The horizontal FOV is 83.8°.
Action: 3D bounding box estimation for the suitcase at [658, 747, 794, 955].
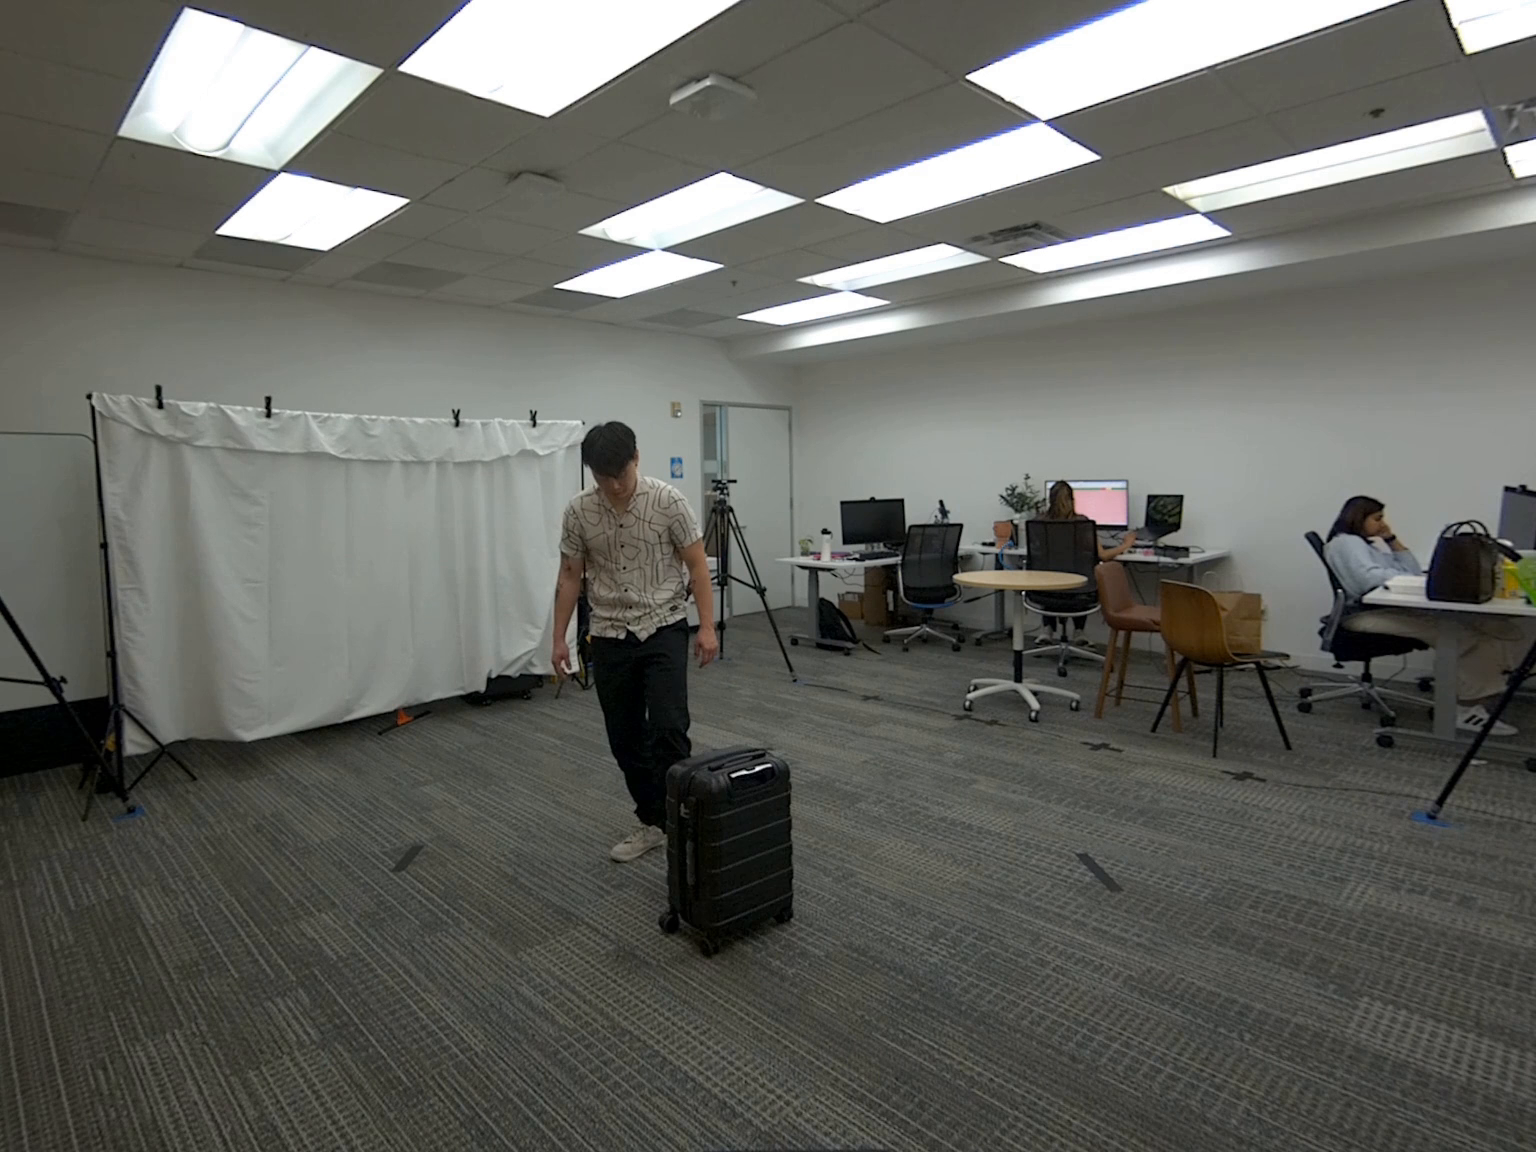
[{"bbox_3d":[-0.118,0.822,2.659,0.366,0.547,0.256,-5,6,-40],"label":"suitcase"}]
